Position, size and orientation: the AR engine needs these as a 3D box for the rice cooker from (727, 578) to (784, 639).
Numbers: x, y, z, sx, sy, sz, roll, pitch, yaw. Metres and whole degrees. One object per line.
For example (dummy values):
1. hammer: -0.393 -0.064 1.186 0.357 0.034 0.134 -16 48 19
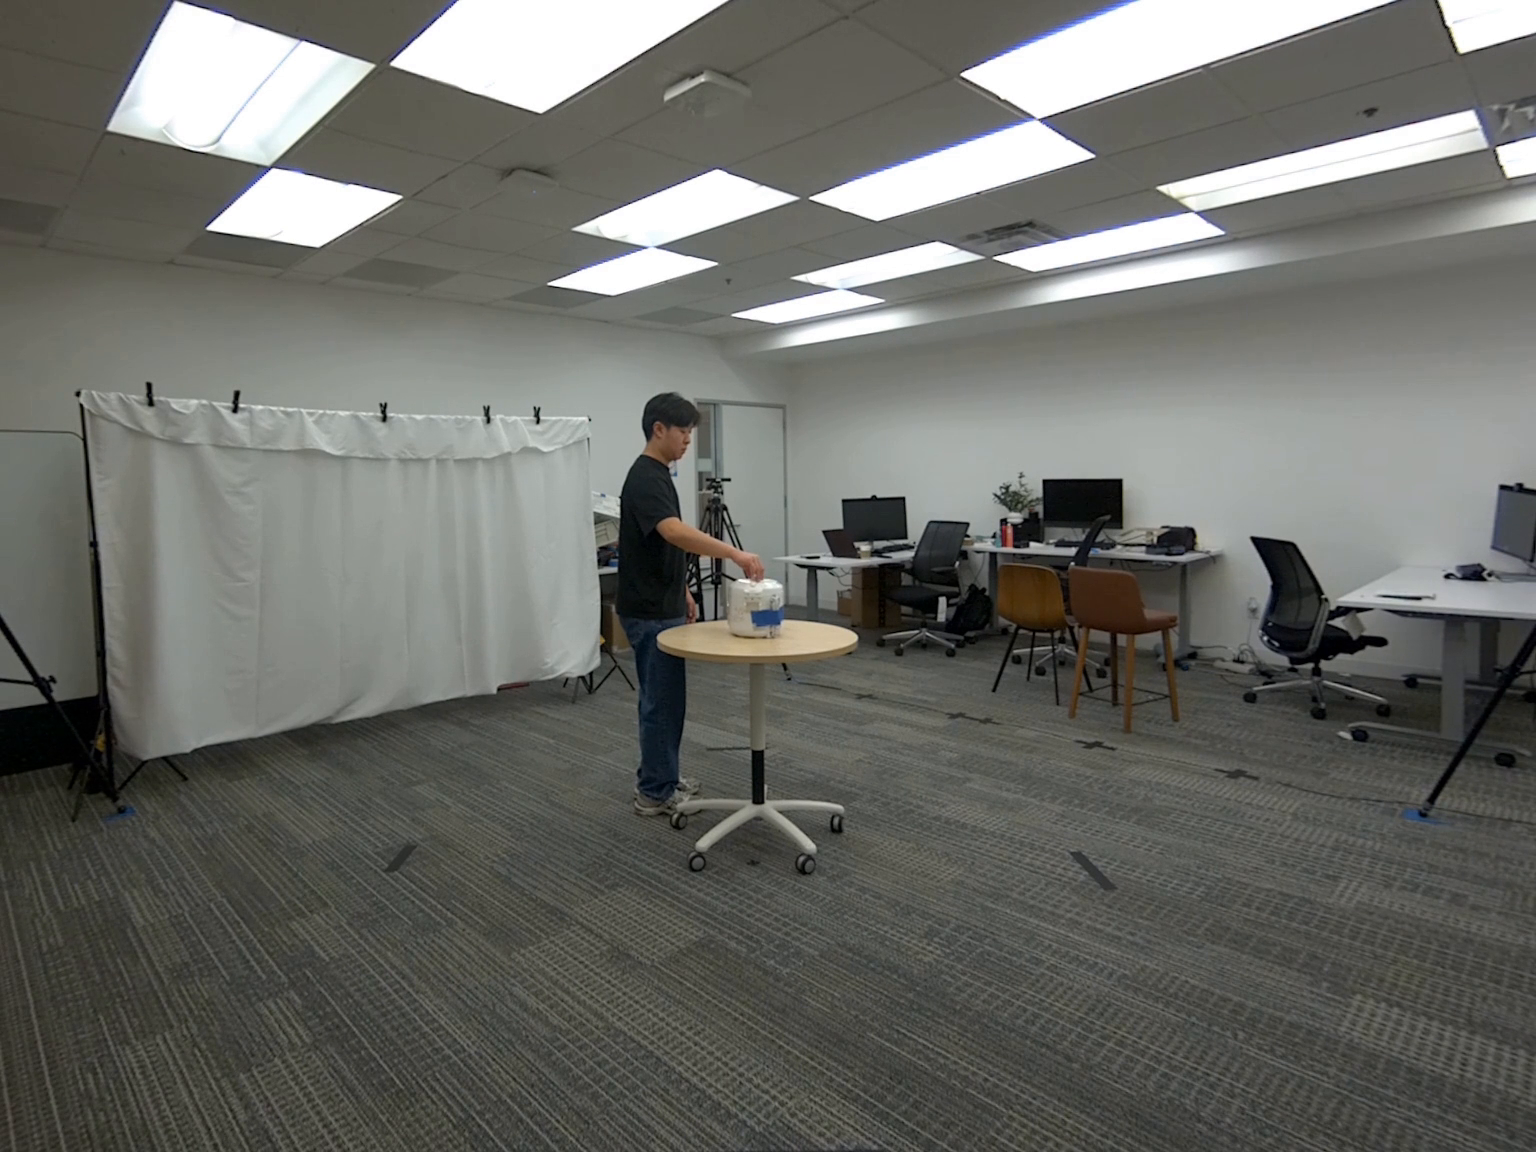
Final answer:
1. rice cooker: -0.045 0.109 3.283 0.219 0.232 0.219 0 4 8
